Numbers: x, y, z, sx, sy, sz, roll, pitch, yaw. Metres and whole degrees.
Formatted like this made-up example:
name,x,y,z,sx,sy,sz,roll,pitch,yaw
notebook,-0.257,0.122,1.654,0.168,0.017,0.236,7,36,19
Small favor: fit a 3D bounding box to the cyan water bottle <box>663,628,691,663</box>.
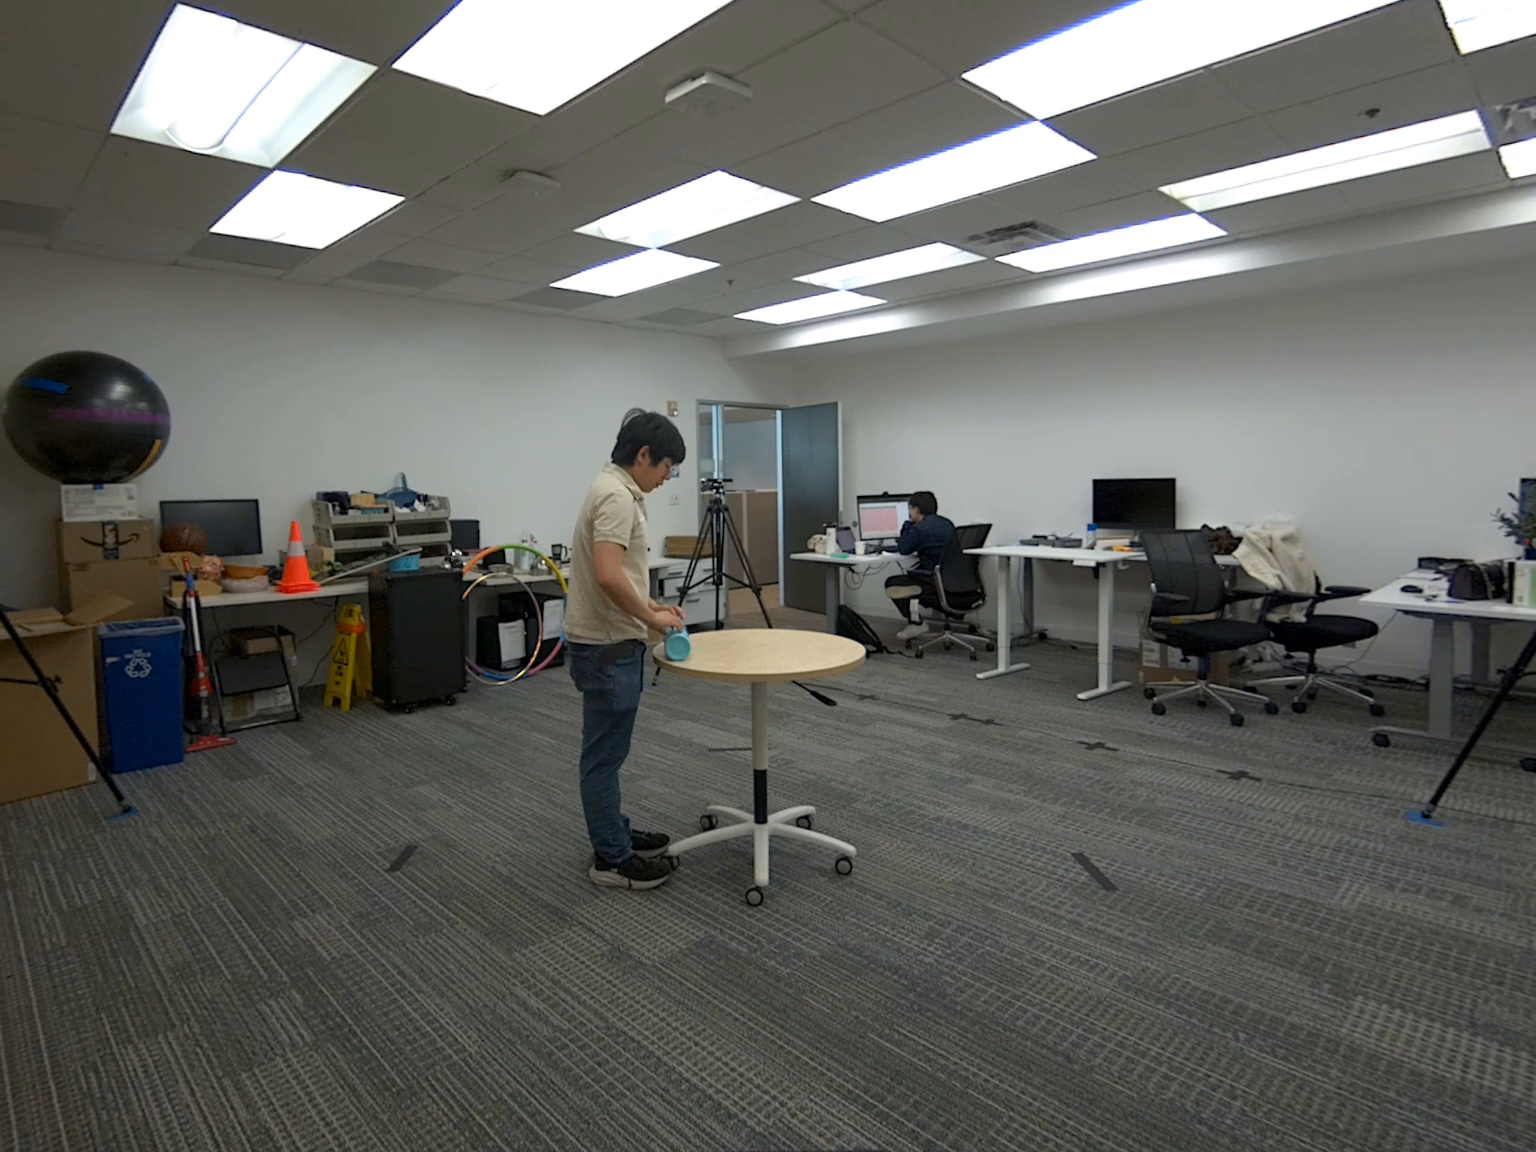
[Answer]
name,x,y,z,sx,sy,sz,roll,pitch,yaw
cyan water bottle,-0.323,0.229,3.033,0.092,0.092,0.286,-1,5,-6
